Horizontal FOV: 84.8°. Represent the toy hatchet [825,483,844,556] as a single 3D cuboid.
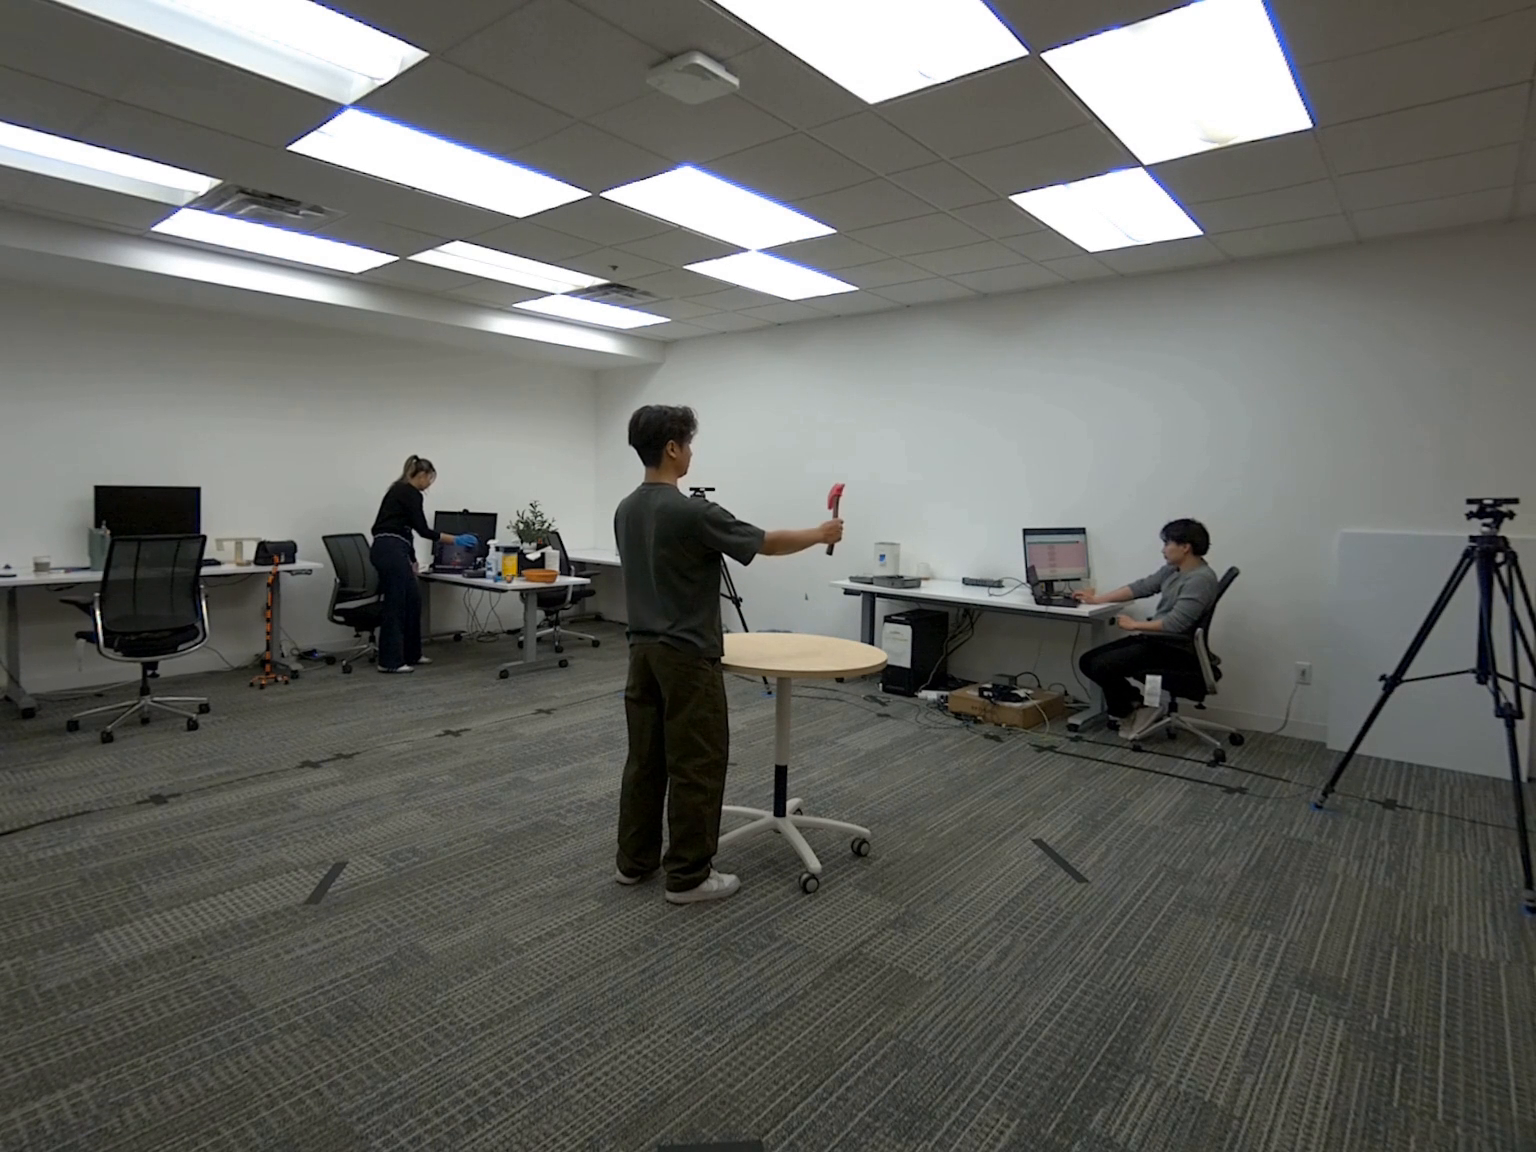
[{"bbox_3d":[0.222,-0.188,3.112,0.029,0.271,0.133,11,-6,-18],"label":"toy hatchet"}]
